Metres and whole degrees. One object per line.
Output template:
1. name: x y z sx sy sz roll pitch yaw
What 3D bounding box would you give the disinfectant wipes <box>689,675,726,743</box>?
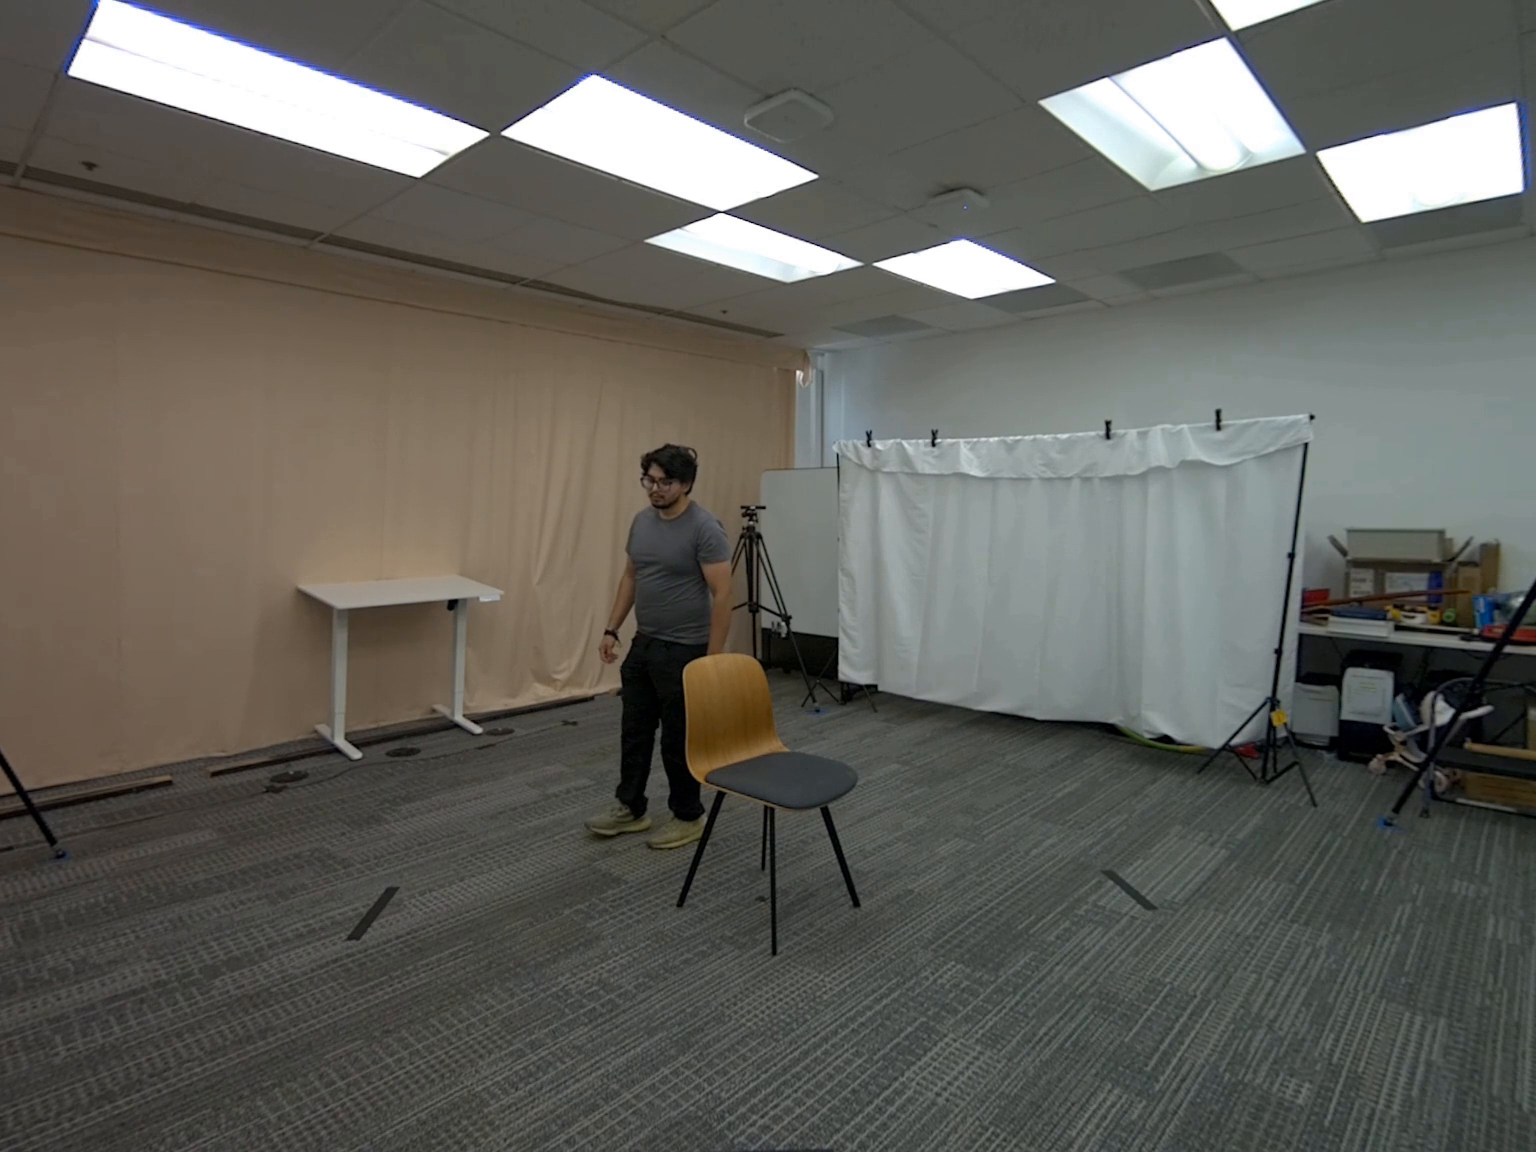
1. disinfectant wipes: -0.236 0.514 3.281 0.117 0.216 0.119 5 13 -3
